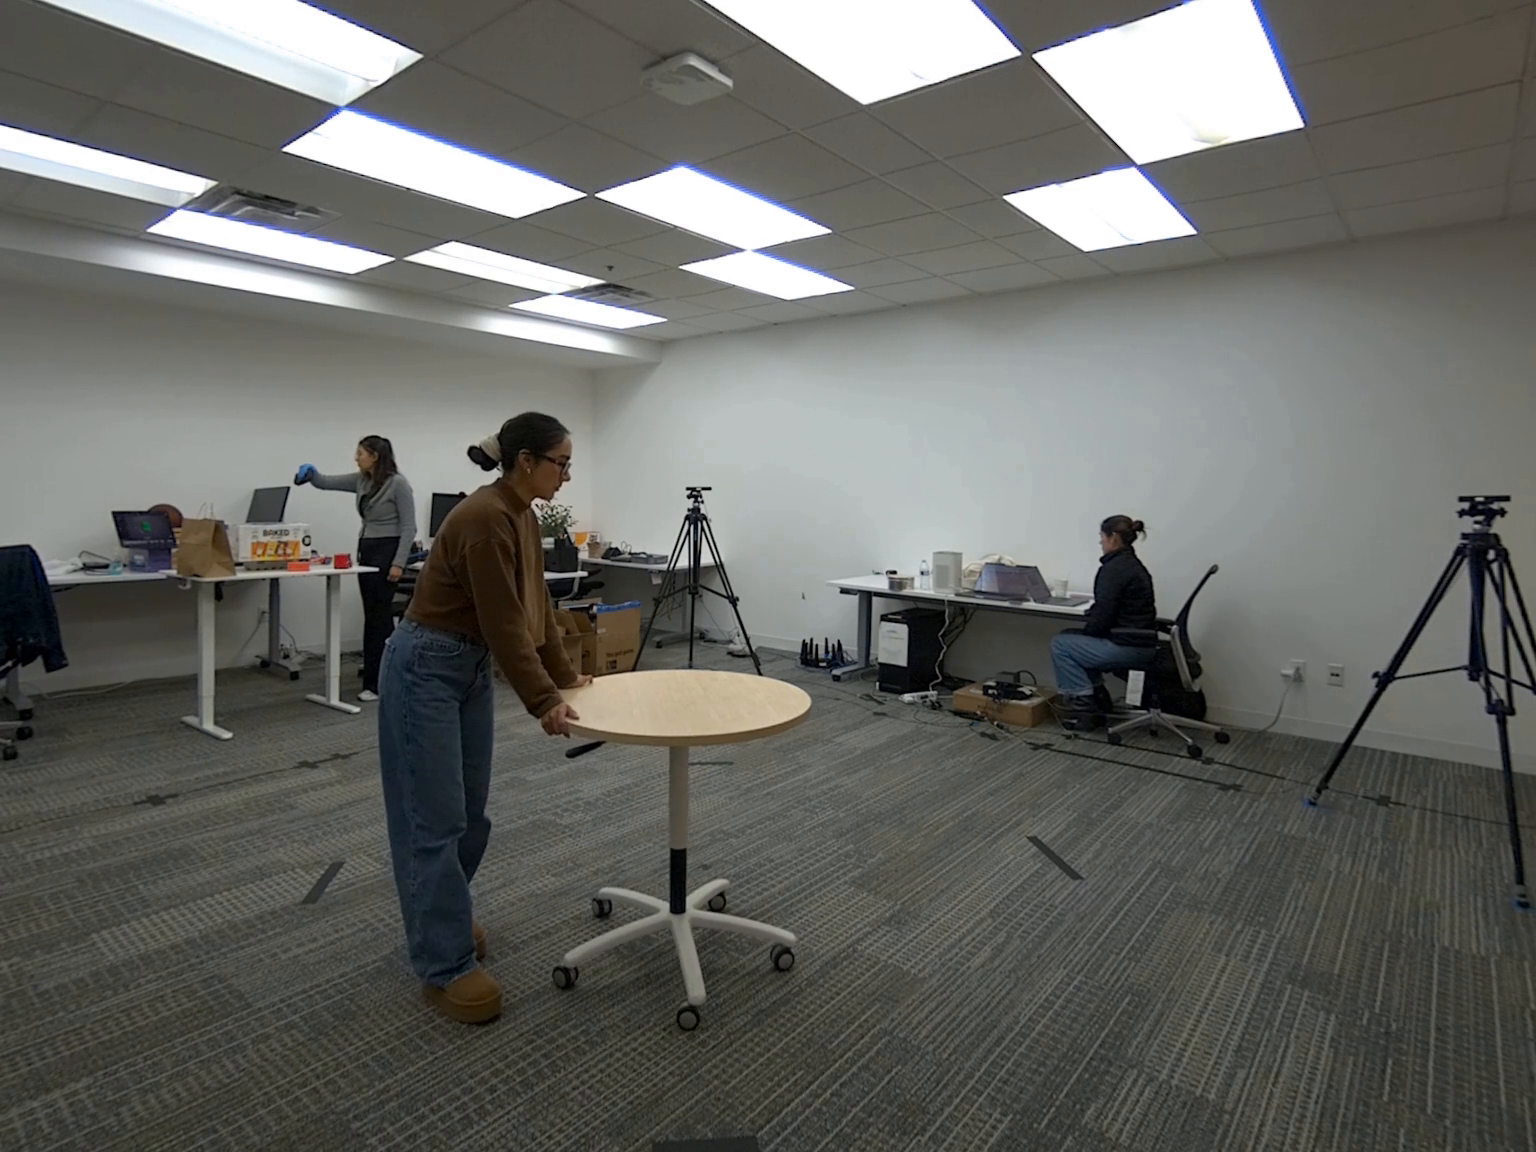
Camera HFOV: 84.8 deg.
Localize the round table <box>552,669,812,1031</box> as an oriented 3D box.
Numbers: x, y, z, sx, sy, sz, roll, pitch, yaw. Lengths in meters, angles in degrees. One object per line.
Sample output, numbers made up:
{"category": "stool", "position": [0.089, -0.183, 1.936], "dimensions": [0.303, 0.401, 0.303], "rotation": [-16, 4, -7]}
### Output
{"category": "round table", "position": [-0.277, 0.744, 2.495], "dimensions": [0.763, 0.791, 0.768], "rotation": [1, 4, -2]}
